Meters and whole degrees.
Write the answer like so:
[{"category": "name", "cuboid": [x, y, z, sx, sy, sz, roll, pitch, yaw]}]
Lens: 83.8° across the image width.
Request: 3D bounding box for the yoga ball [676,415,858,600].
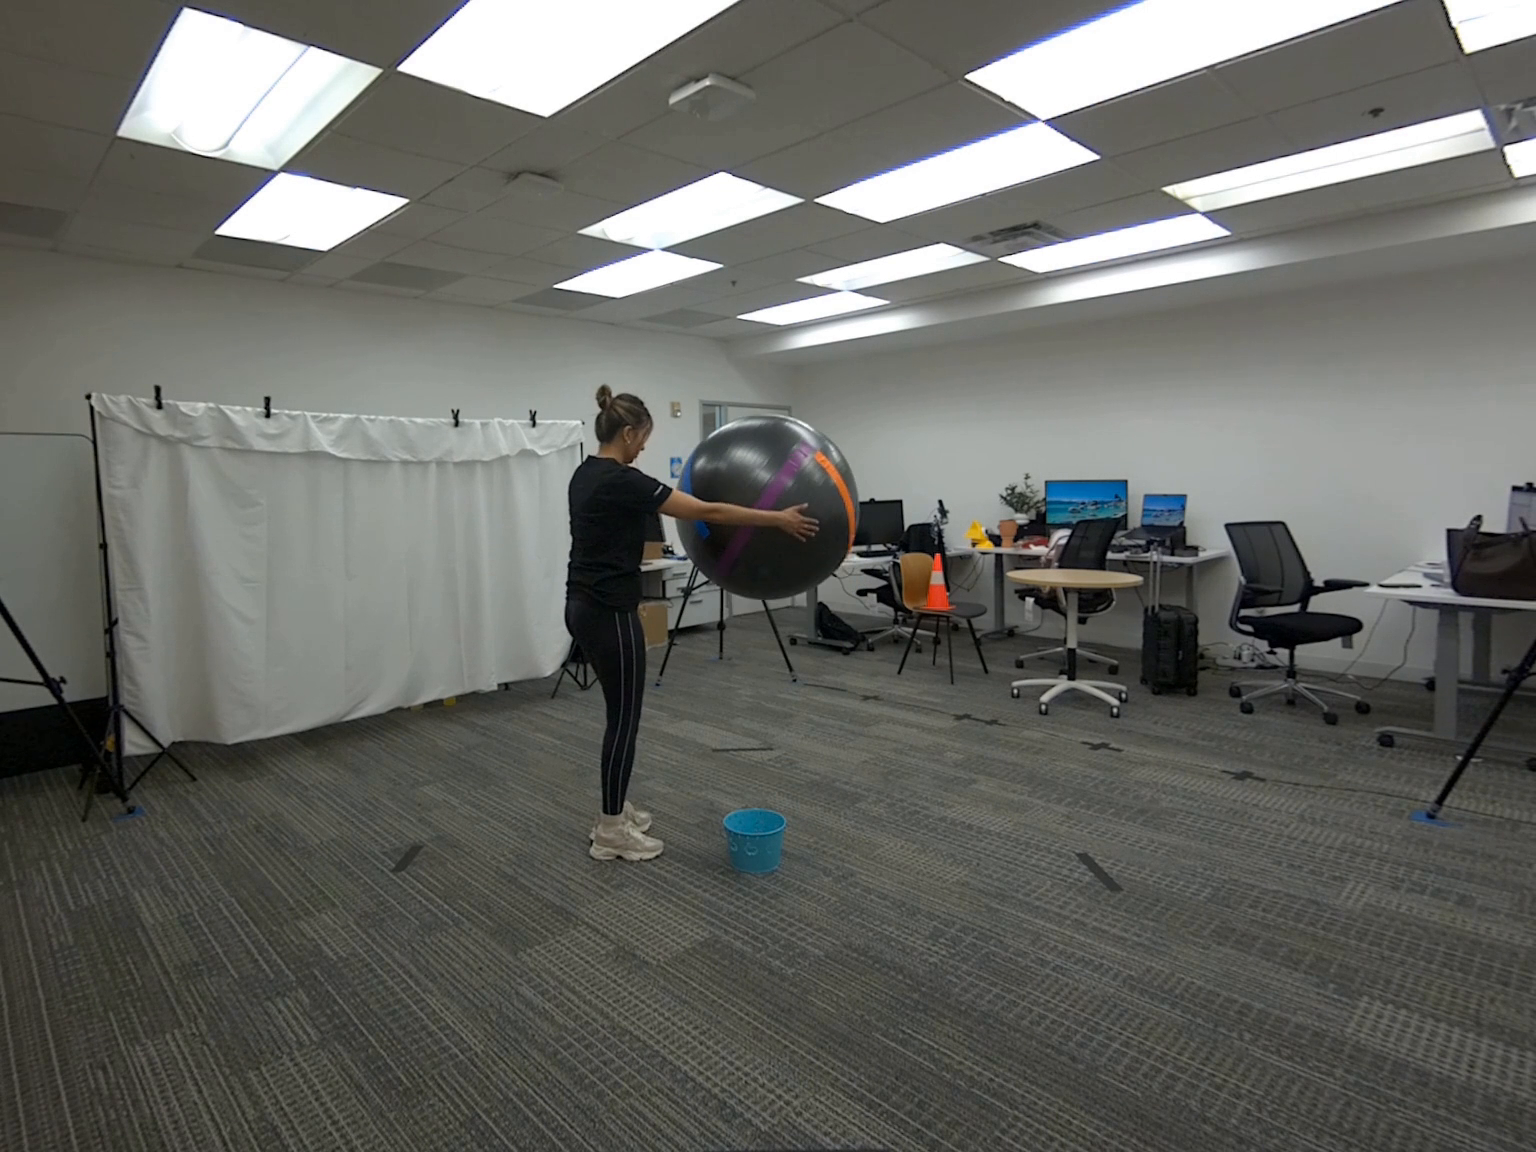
[{"category": "yoga ball", "cuboid": [-0.011, -0.268, 3.511, 0.757, 0.755, 0.762, -1, 5, -2]}]
